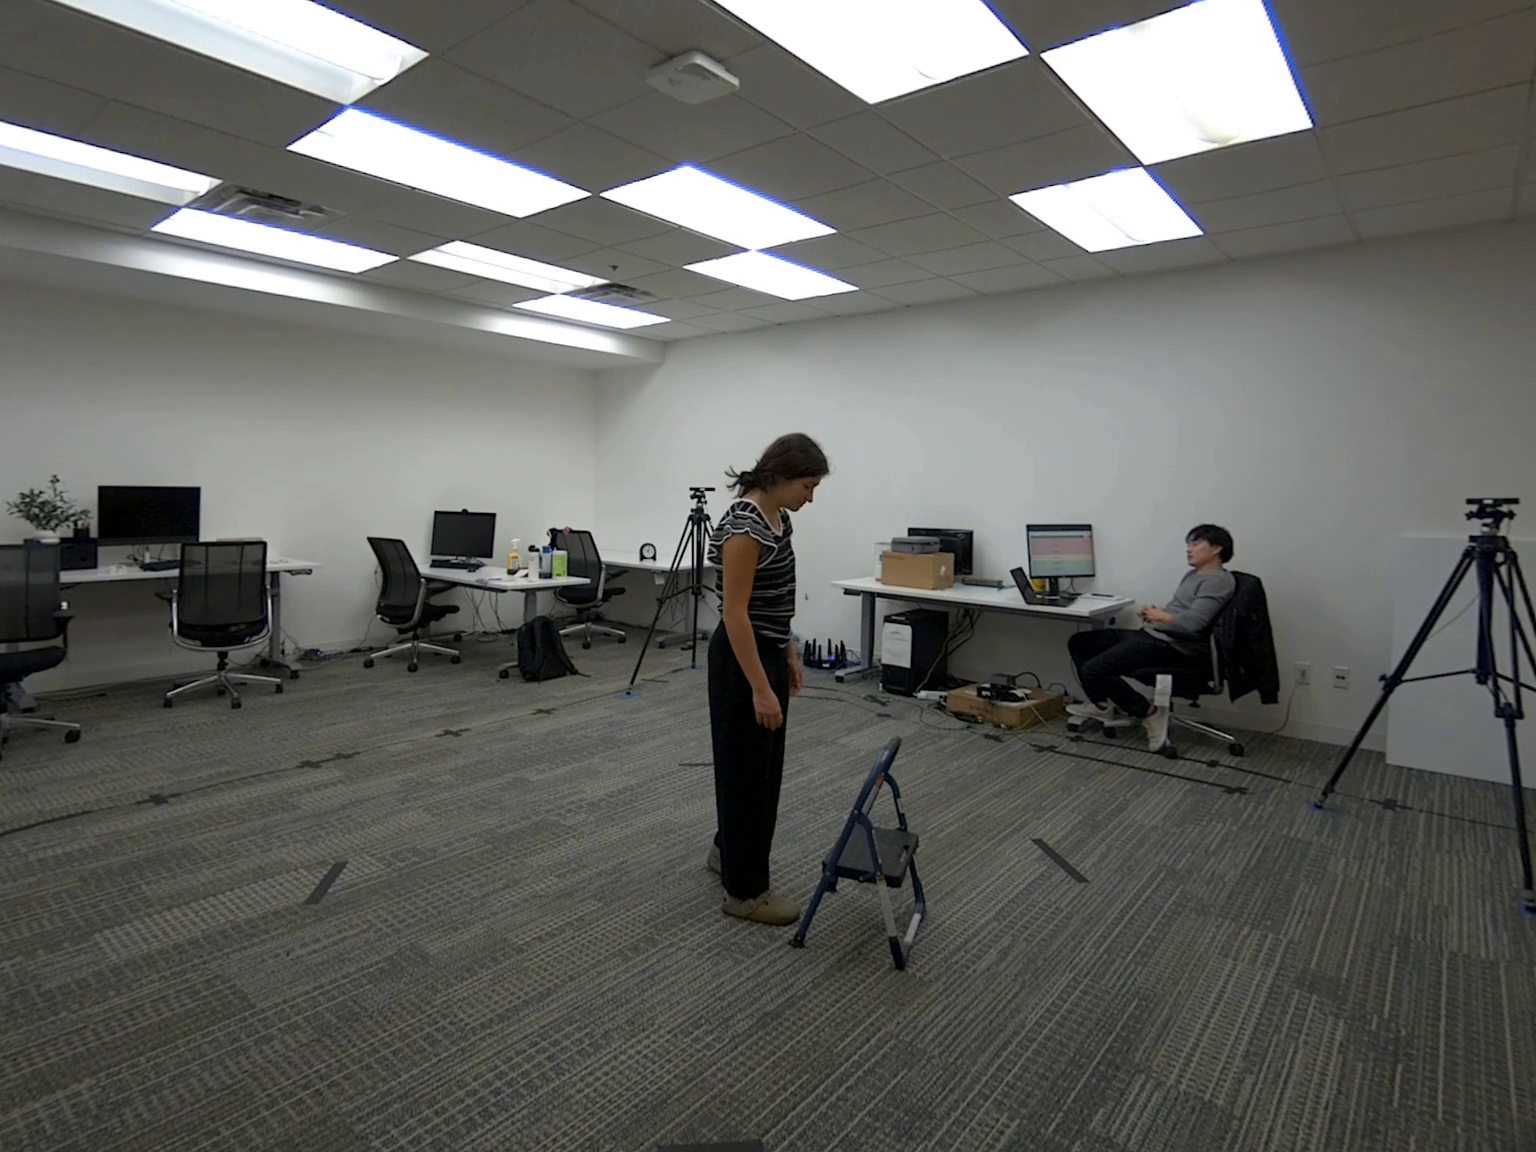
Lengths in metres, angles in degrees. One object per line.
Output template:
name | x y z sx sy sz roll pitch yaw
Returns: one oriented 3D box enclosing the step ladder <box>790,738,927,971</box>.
step ladder | 0.303 0.817 2.703 0.357 0.604 0.422 3 4 20
